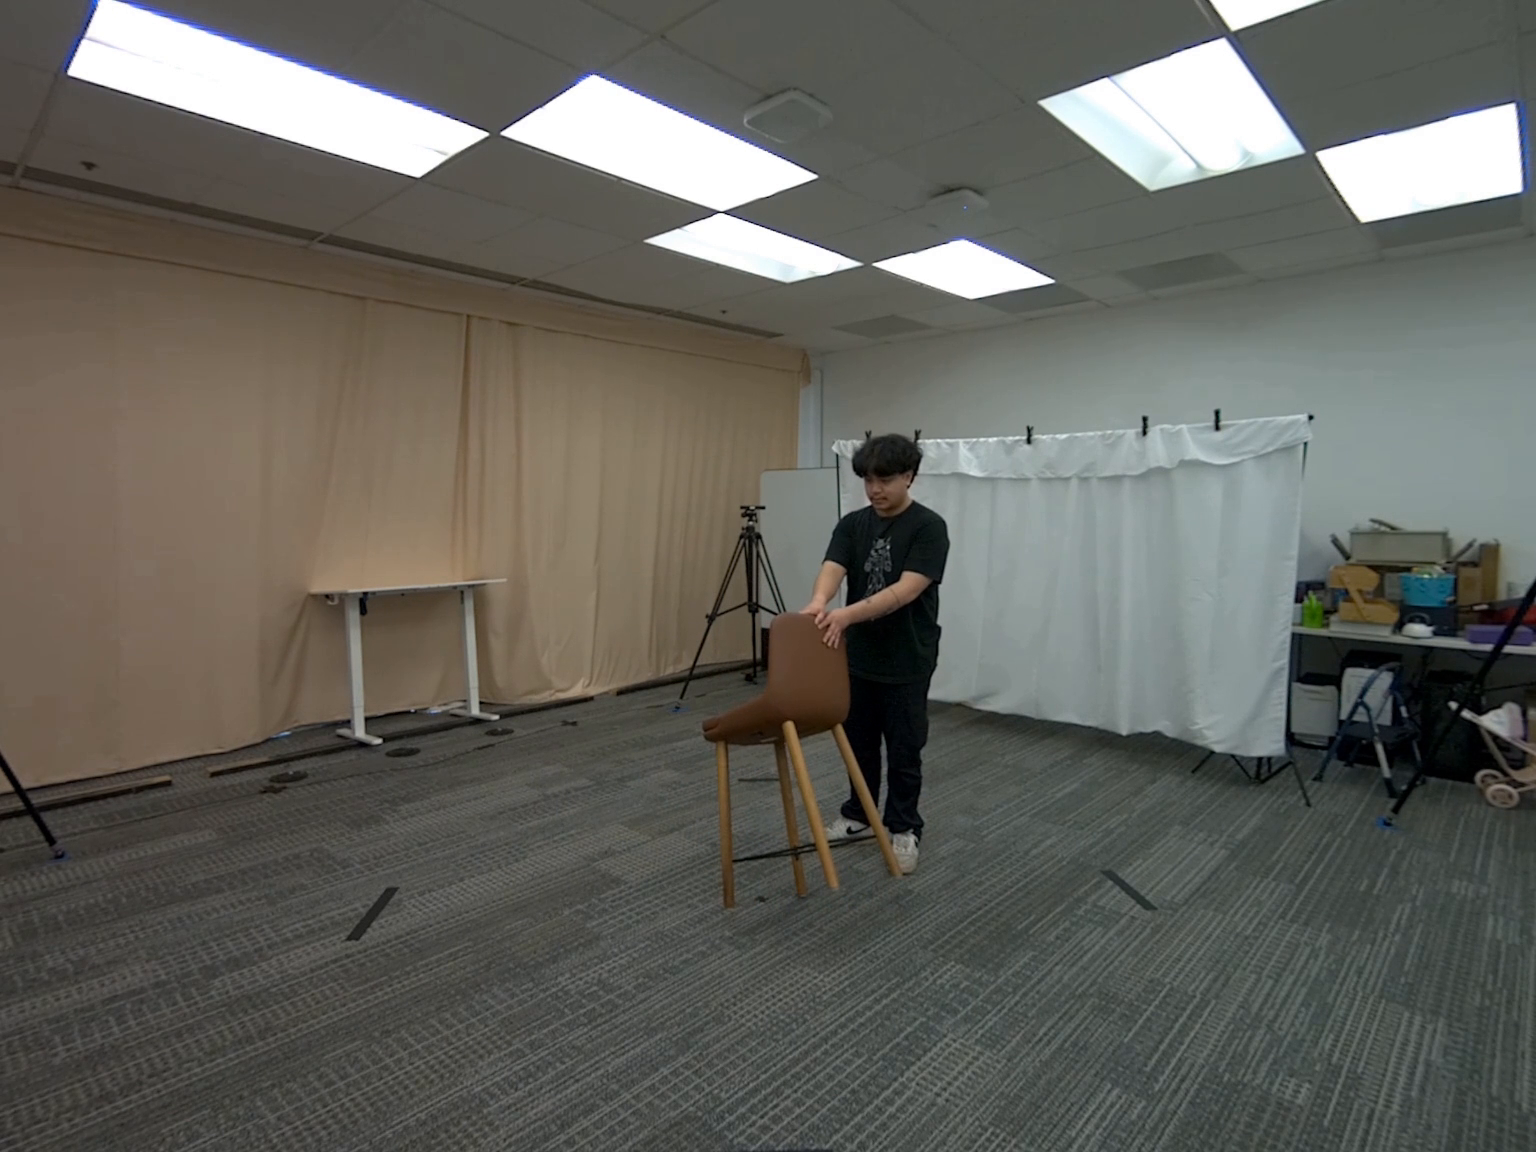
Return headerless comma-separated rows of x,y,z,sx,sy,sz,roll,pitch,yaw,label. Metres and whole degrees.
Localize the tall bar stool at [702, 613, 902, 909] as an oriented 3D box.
0.079,0.629,2.903,0.477,0.904,0.440,-27,-26,36,tall bar stool
